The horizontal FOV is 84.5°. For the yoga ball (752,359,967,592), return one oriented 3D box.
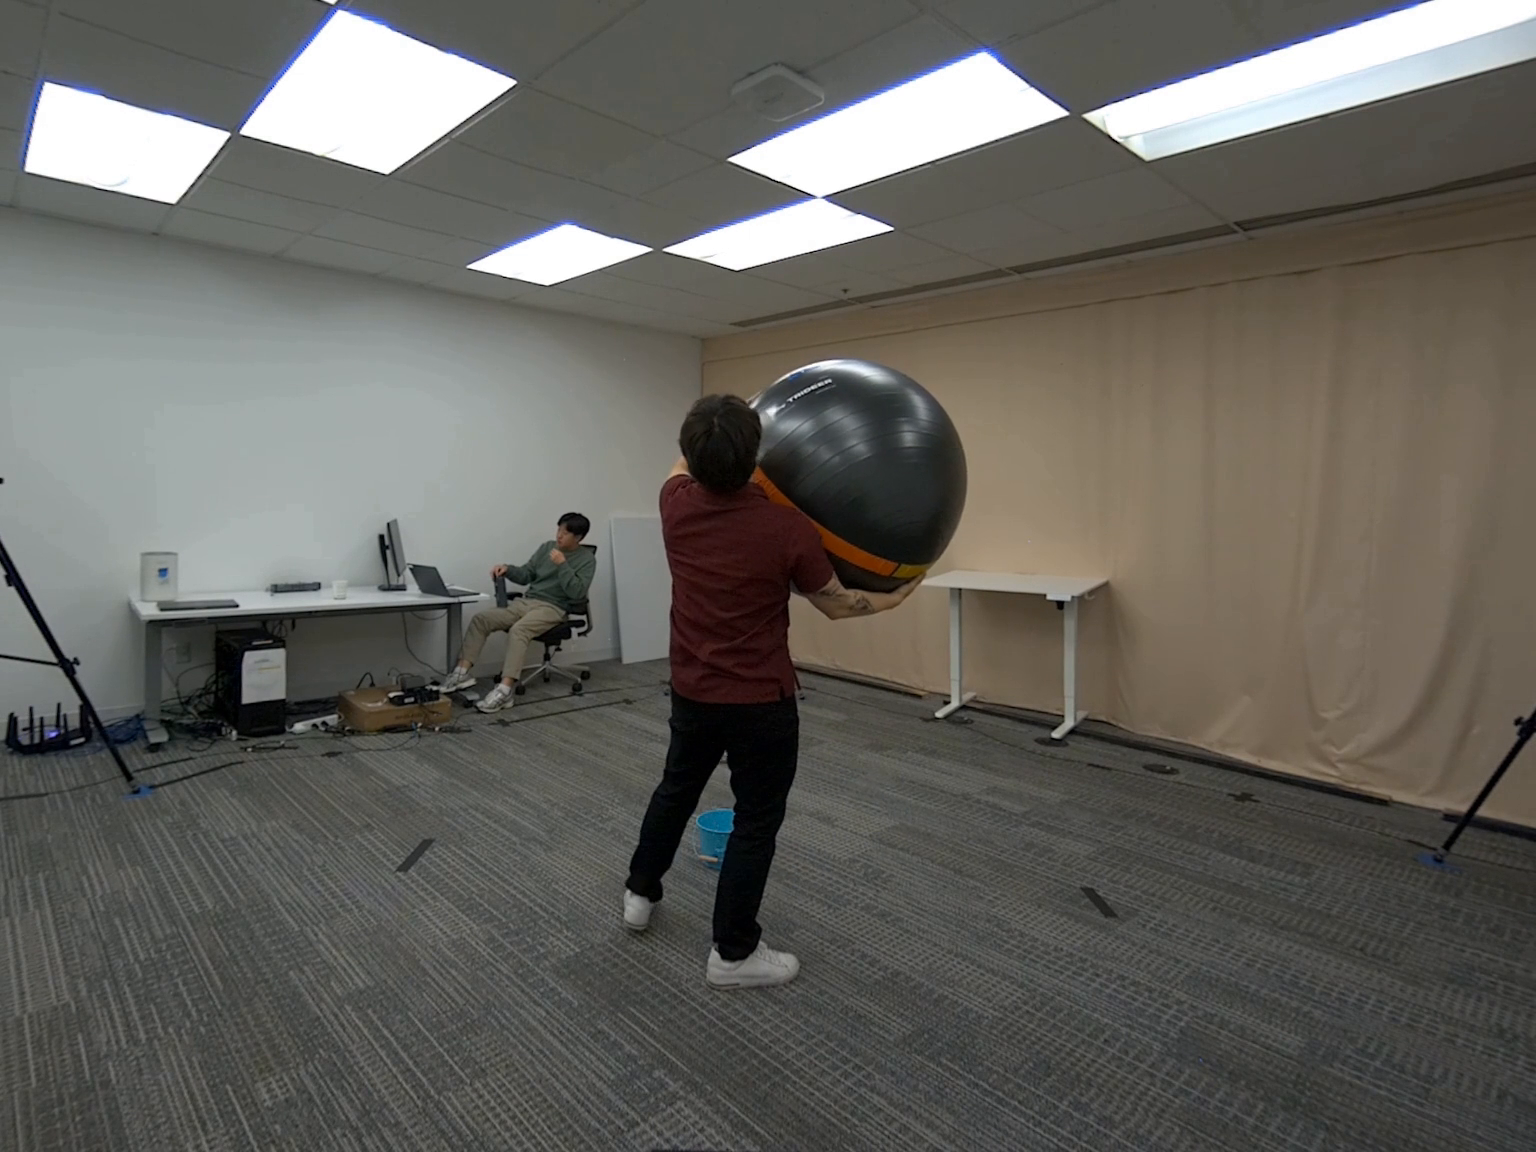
[{"bbox_3d":[0.231,-0.283,2.644,0.757,0.756,0.761,1,4,-1],"label":"yoga ball"}]
